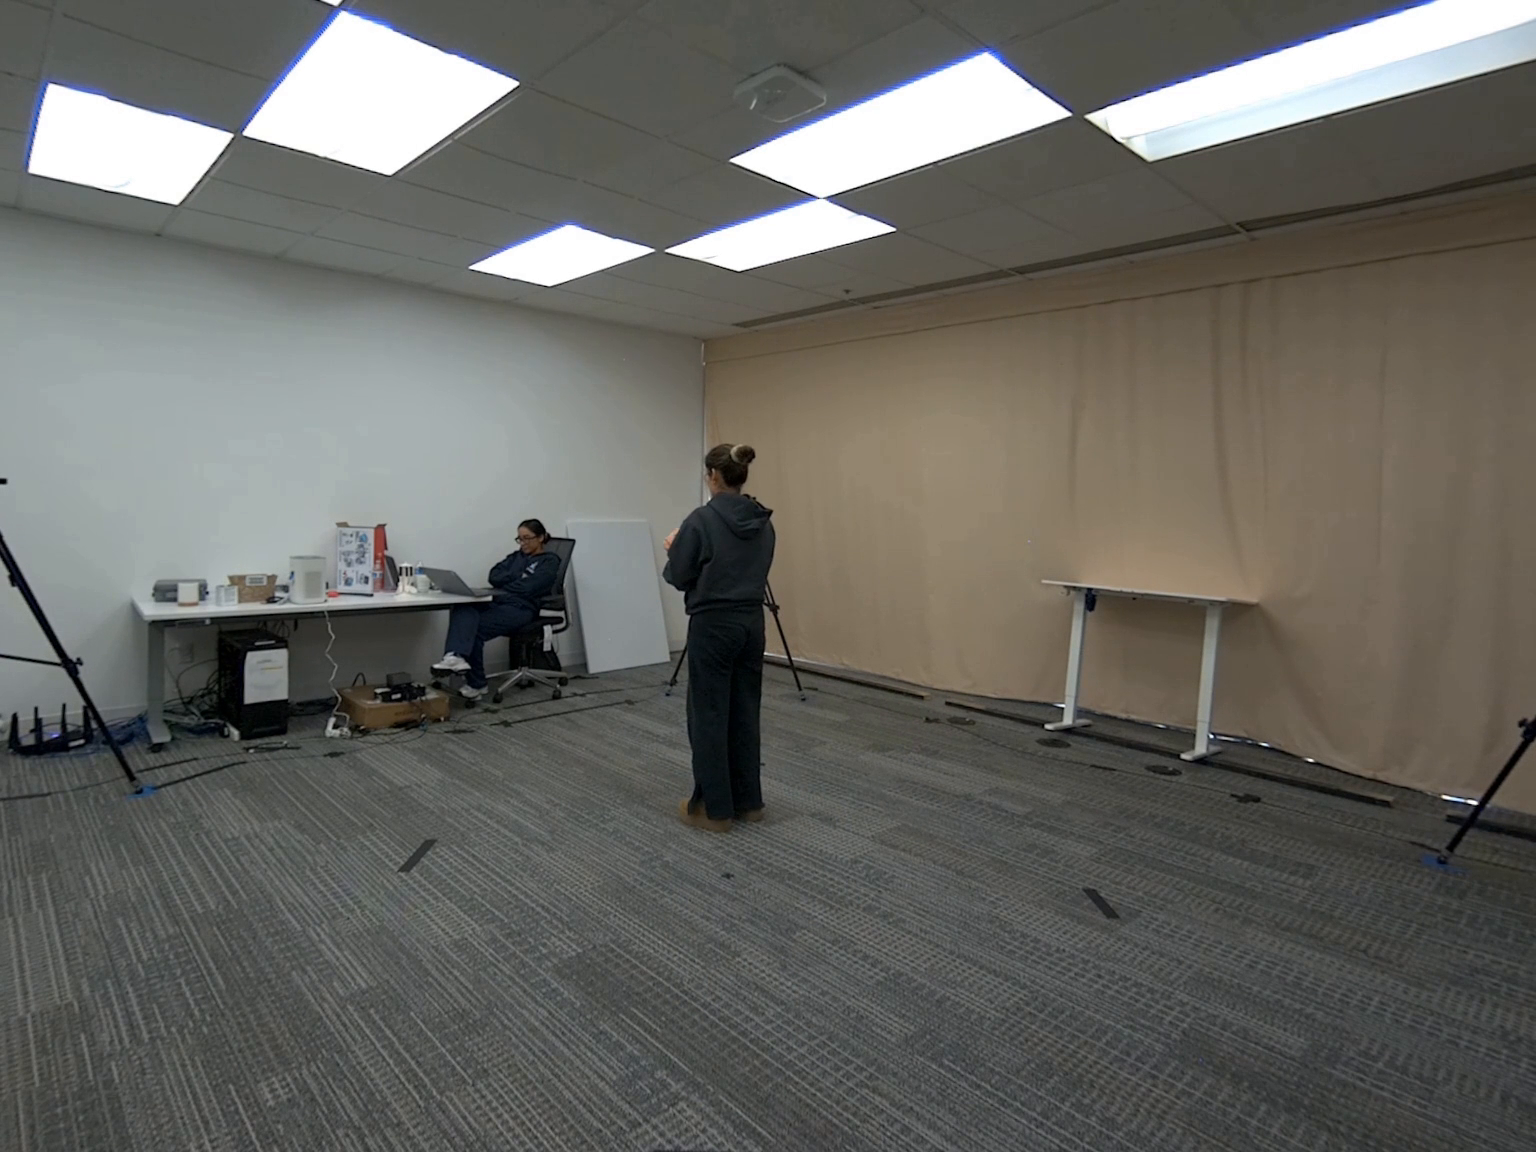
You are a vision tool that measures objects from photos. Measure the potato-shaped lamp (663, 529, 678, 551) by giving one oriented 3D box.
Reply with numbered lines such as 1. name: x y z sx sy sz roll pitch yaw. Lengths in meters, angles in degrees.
1. potato-shaped lamp: -0.367 -0.158 3.842 0.160 0.198 0.177 23 26 -44
